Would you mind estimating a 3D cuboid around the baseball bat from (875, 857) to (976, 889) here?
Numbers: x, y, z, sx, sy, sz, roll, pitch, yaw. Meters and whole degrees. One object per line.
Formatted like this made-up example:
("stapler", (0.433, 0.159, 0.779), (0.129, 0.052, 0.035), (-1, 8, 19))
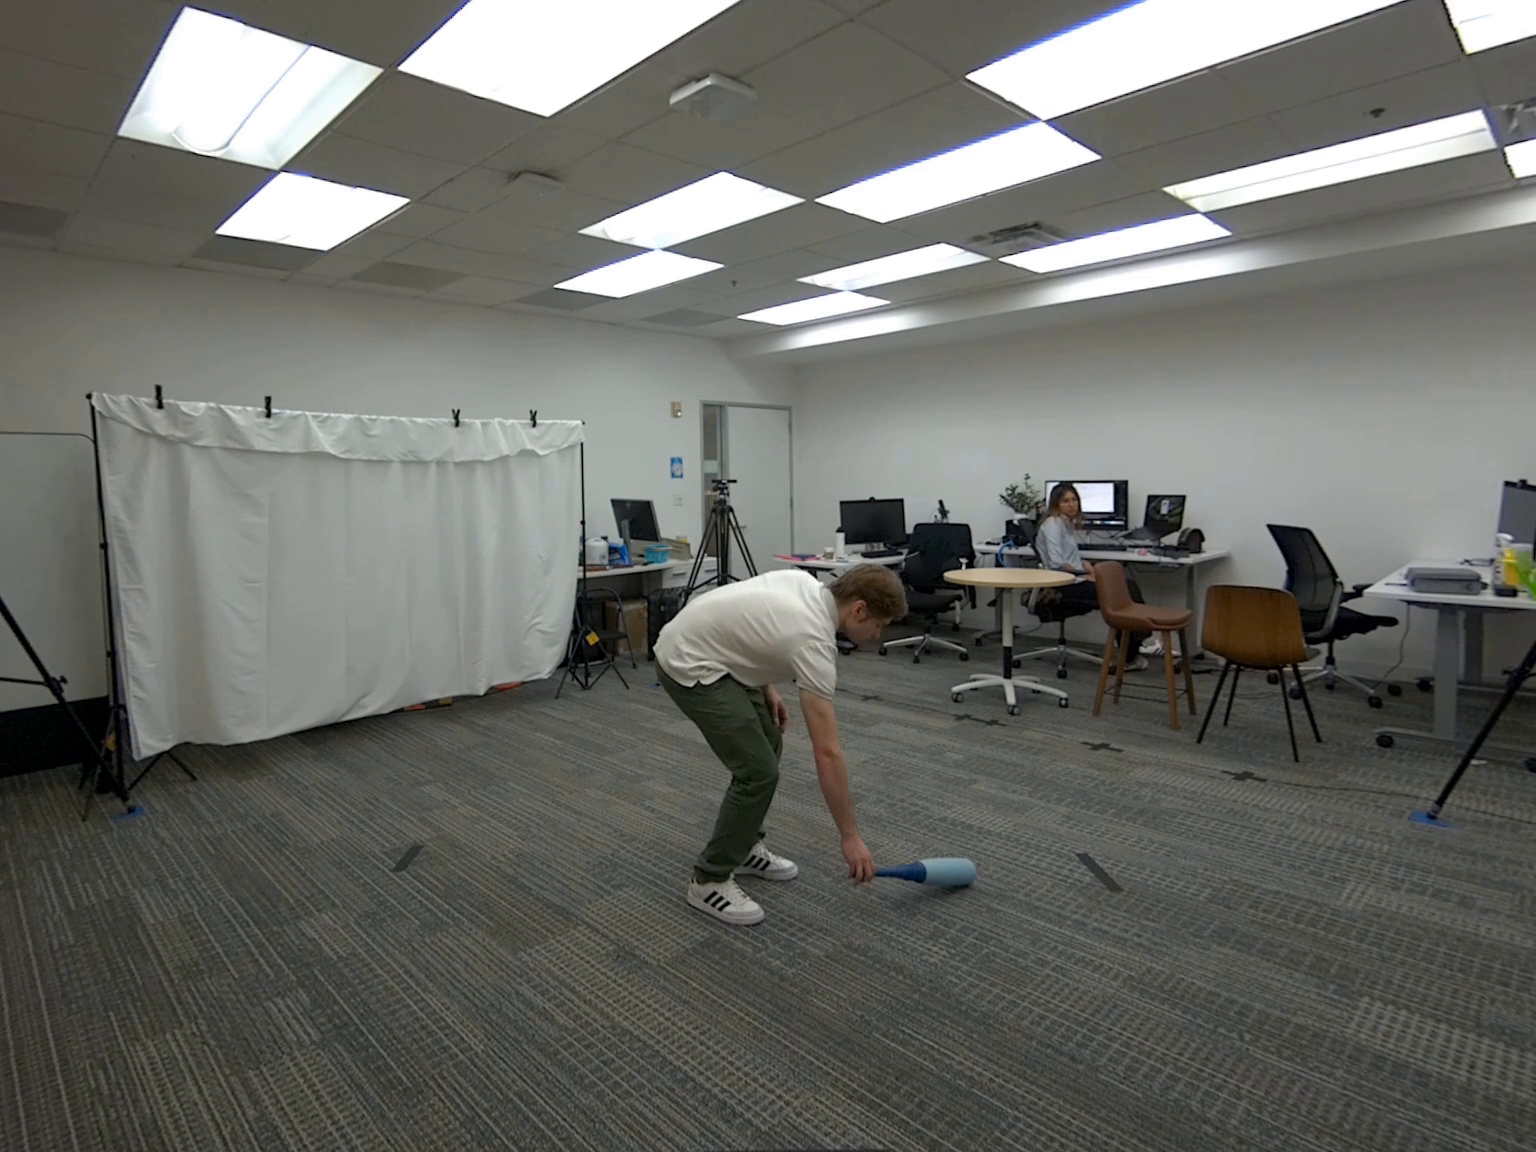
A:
("baseball bat", (0.488, 0.975, 2.792), (0.526, 0.089, 0.092), (12, -4, -35))
